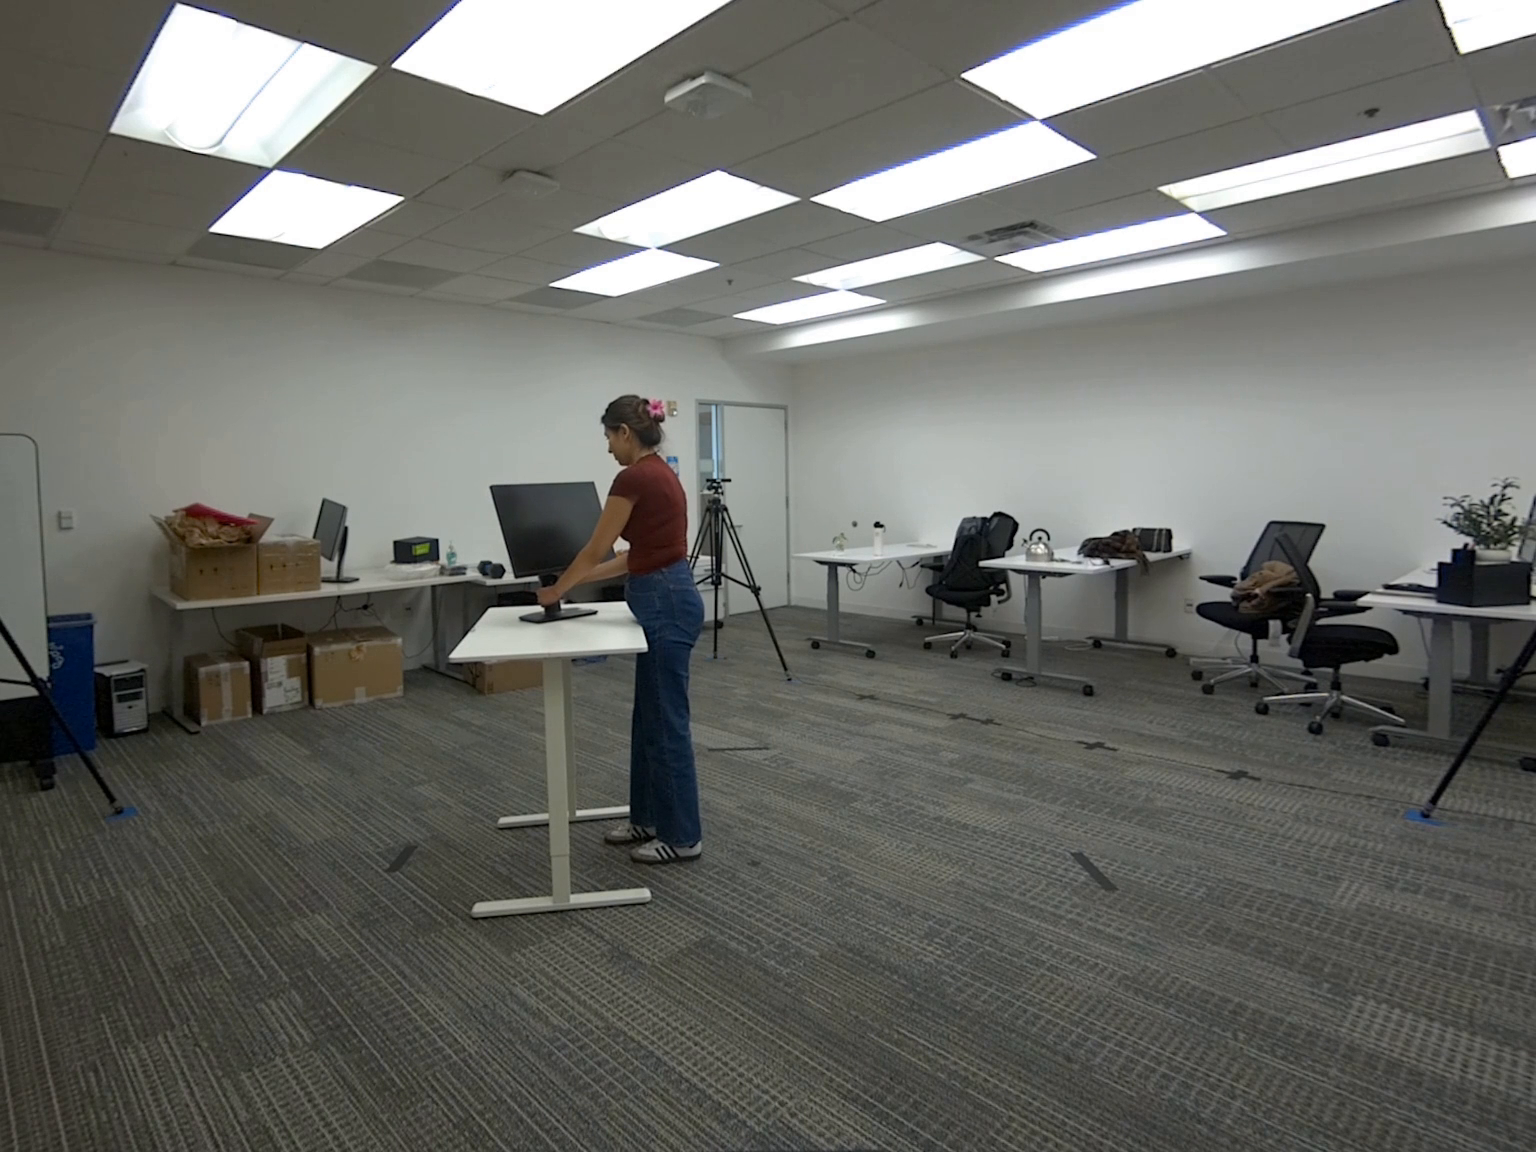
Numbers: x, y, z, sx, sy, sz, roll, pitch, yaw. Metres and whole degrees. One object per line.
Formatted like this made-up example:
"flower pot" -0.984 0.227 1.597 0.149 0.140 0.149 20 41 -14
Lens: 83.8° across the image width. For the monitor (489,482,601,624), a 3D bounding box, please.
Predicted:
"monitor" -0.827 -0.100 3.292 0.192 0.521 0.527 -3 3 31
